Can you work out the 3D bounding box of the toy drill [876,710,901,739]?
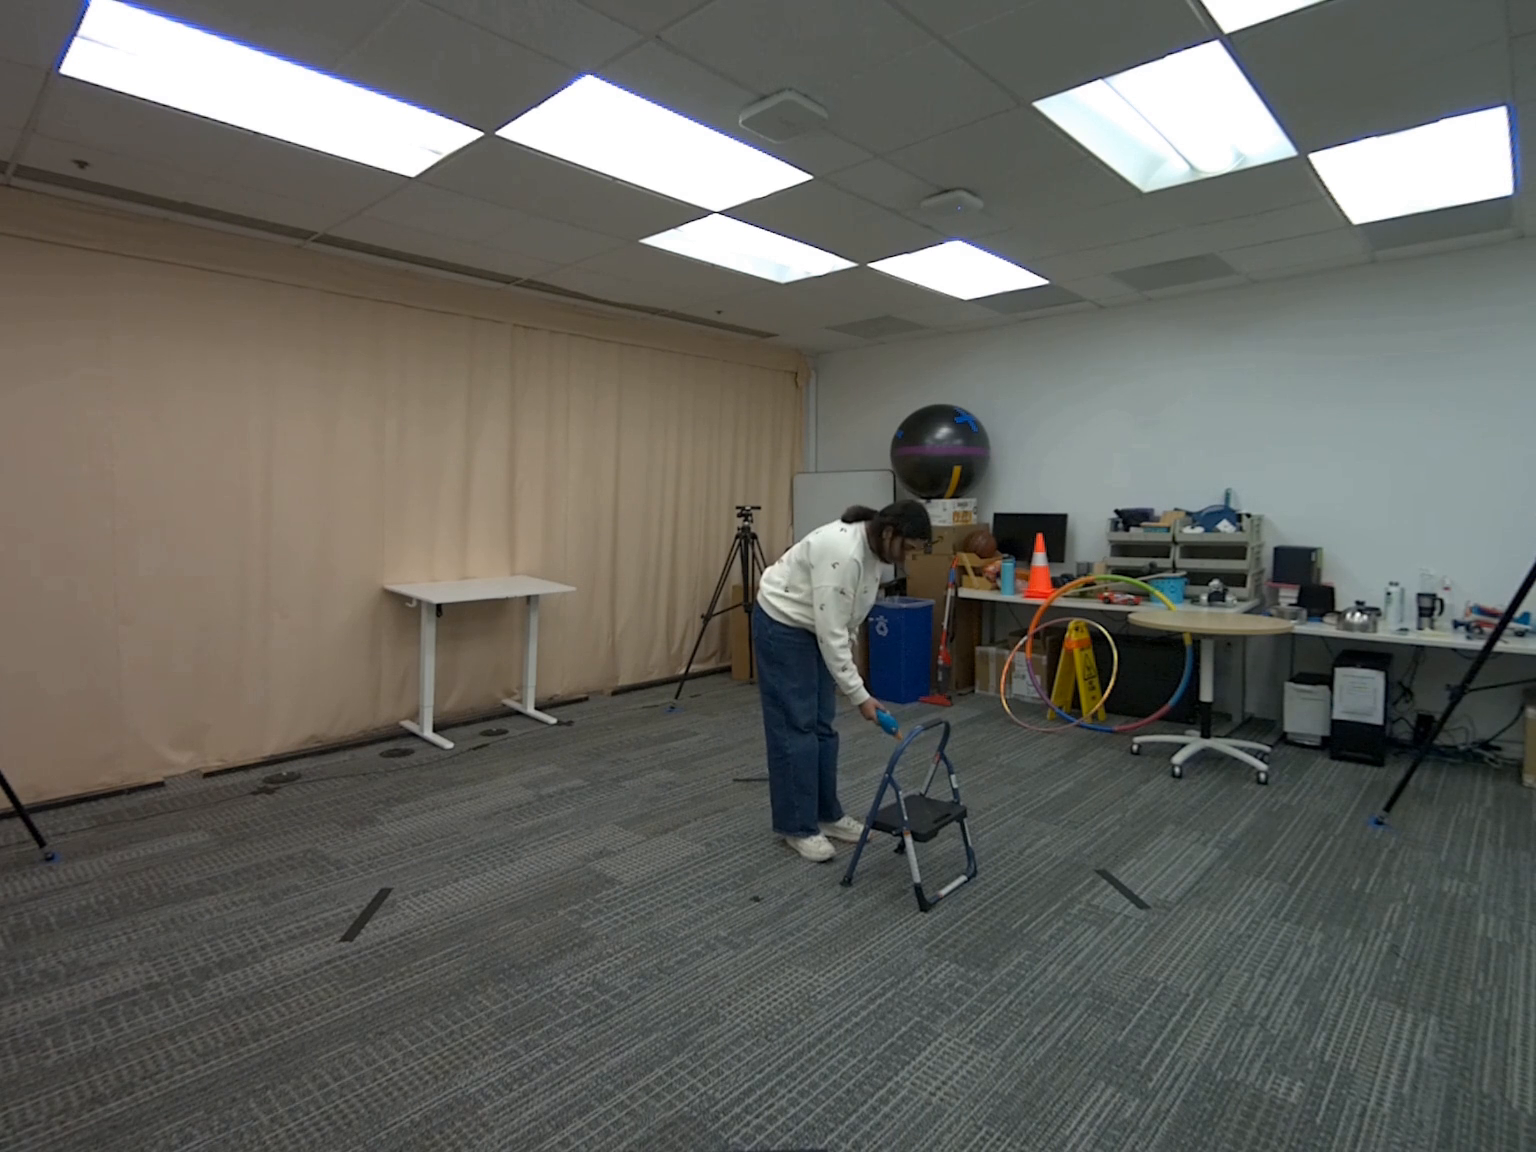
[{"bbox_3d":[0.466,0.559,3.245,0.165,0.061,0.150,48,-6,-29],"label":"toy drill"}]
